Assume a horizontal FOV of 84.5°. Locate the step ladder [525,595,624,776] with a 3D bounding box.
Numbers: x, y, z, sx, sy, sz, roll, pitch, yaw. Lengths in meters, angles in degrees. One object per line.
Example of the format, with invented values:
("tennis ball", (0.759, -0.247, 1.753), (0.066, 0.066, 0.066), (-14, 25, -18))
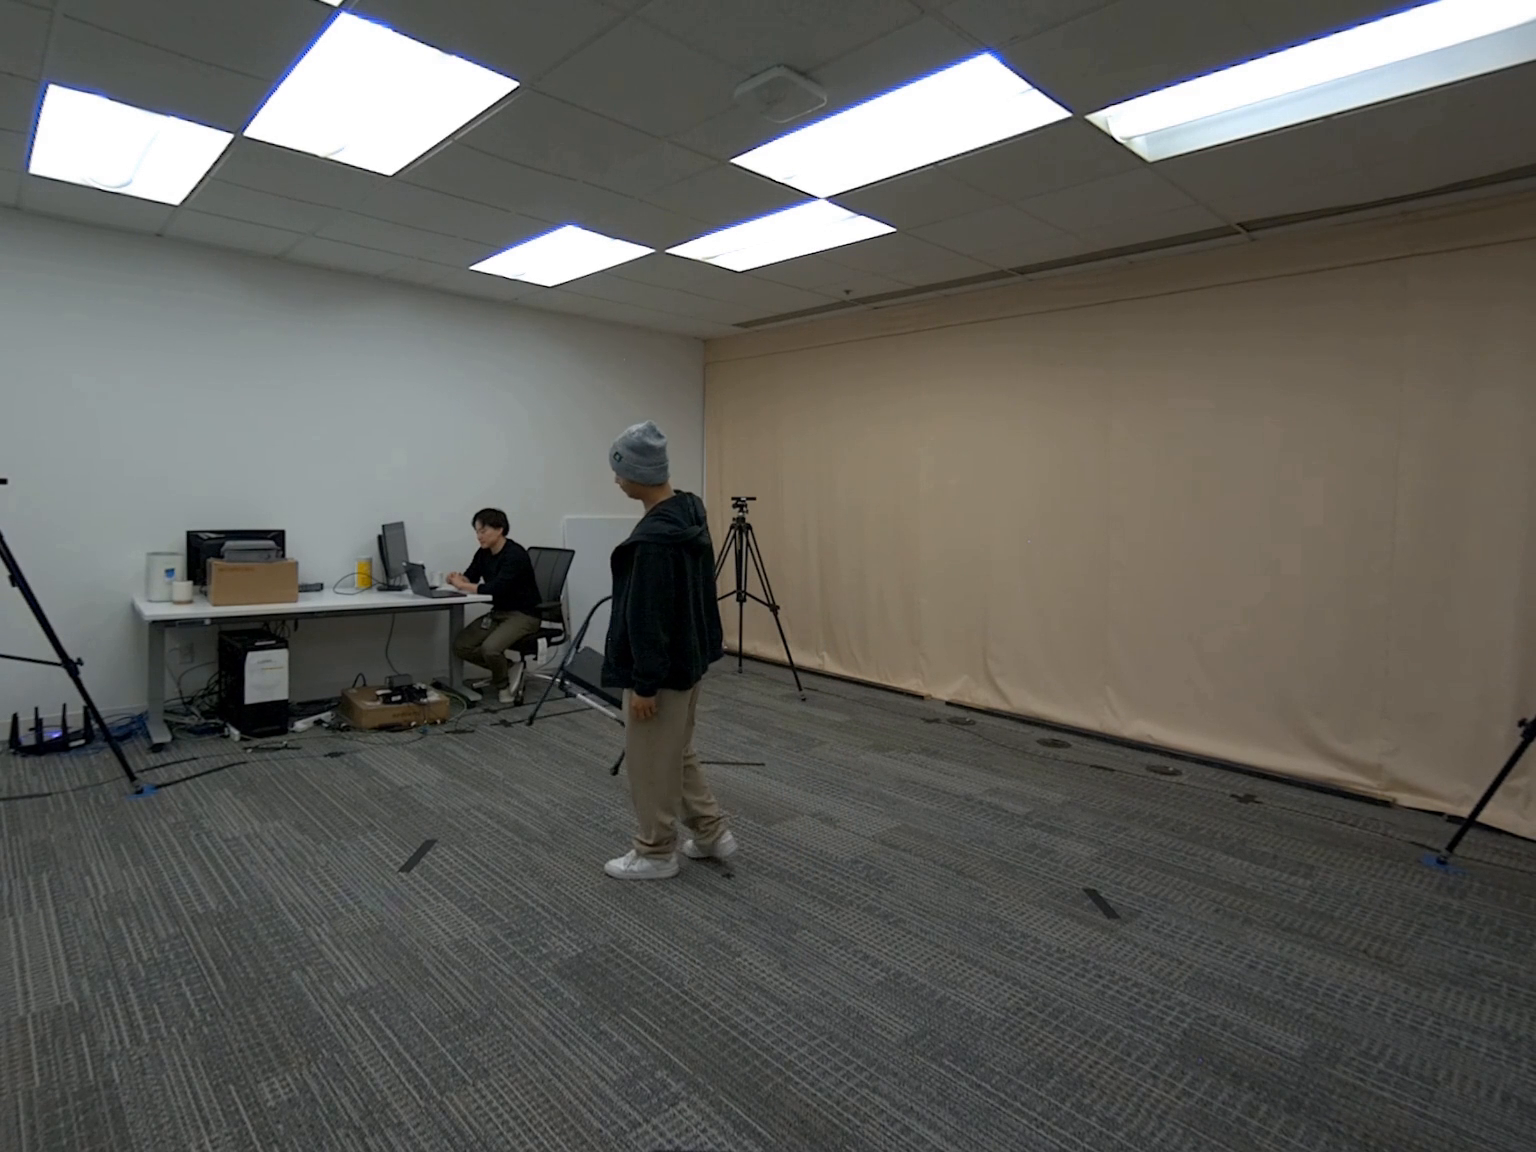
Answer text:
("step ladder", (-0.630, 0.399, 3.423), (0.431, 0.603, 0.350), (30, 21, 1))
